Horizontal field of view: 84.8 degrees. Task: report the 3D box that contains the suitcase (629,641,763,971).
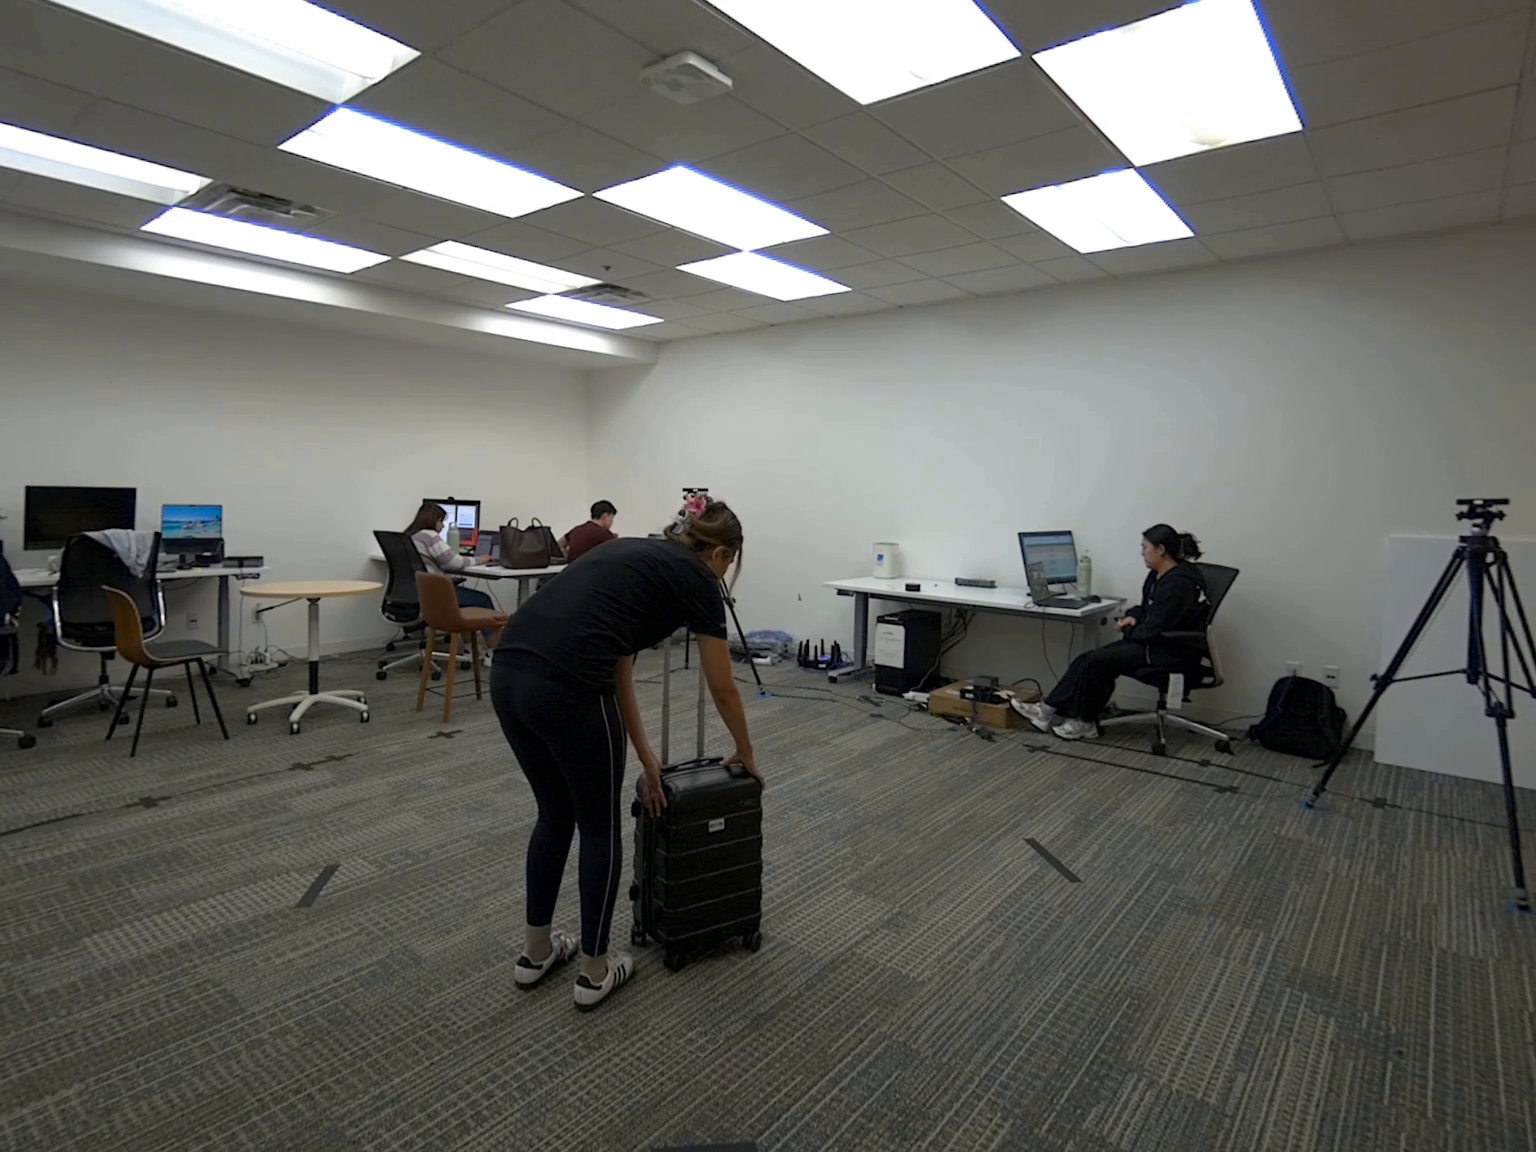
[{"bbox_3d":[-0.212,0.647,2.584,0.373,0.976,0.265,0,3,-31],"label":"suitcase"}]
